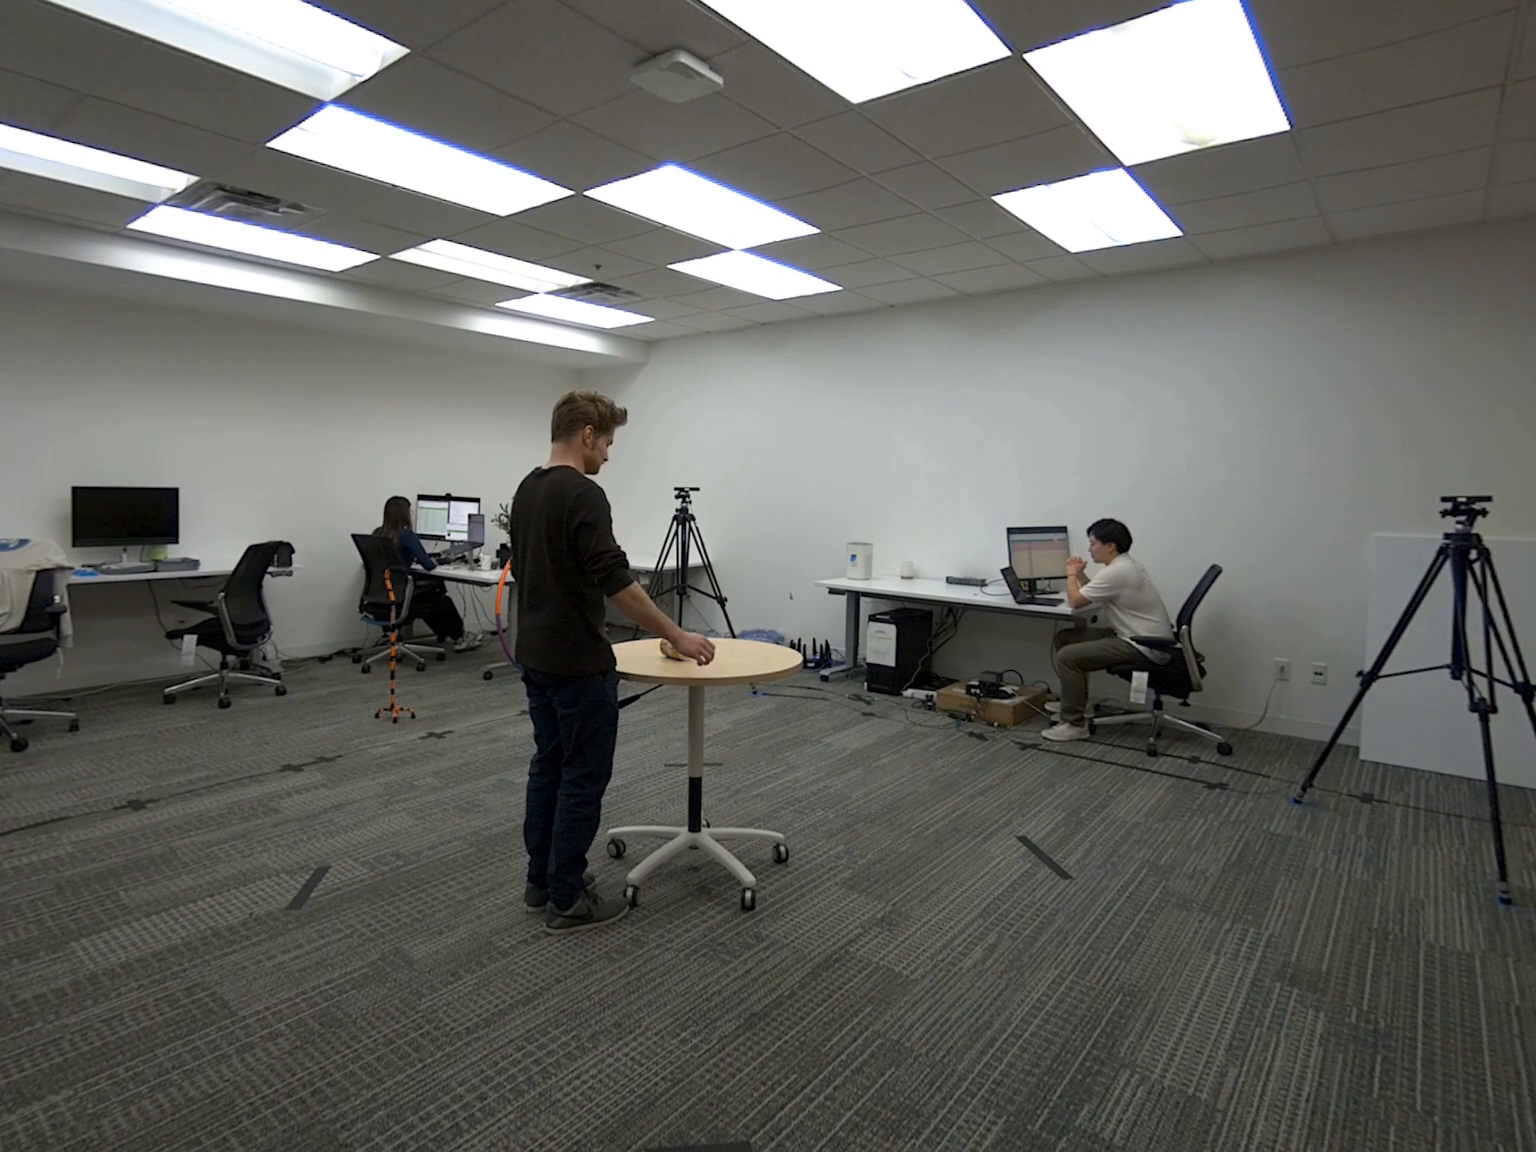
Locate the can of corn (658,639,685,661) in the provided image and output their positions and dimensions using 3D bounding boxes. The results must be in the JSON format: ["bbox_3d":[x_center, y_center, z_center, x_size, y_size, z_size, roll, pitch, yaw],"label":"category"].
[{"bbox_3d":[-0.330,0.253,3.011,0.072,0.074,0.115,-2,6,-39],"label":"can of corn"}]
